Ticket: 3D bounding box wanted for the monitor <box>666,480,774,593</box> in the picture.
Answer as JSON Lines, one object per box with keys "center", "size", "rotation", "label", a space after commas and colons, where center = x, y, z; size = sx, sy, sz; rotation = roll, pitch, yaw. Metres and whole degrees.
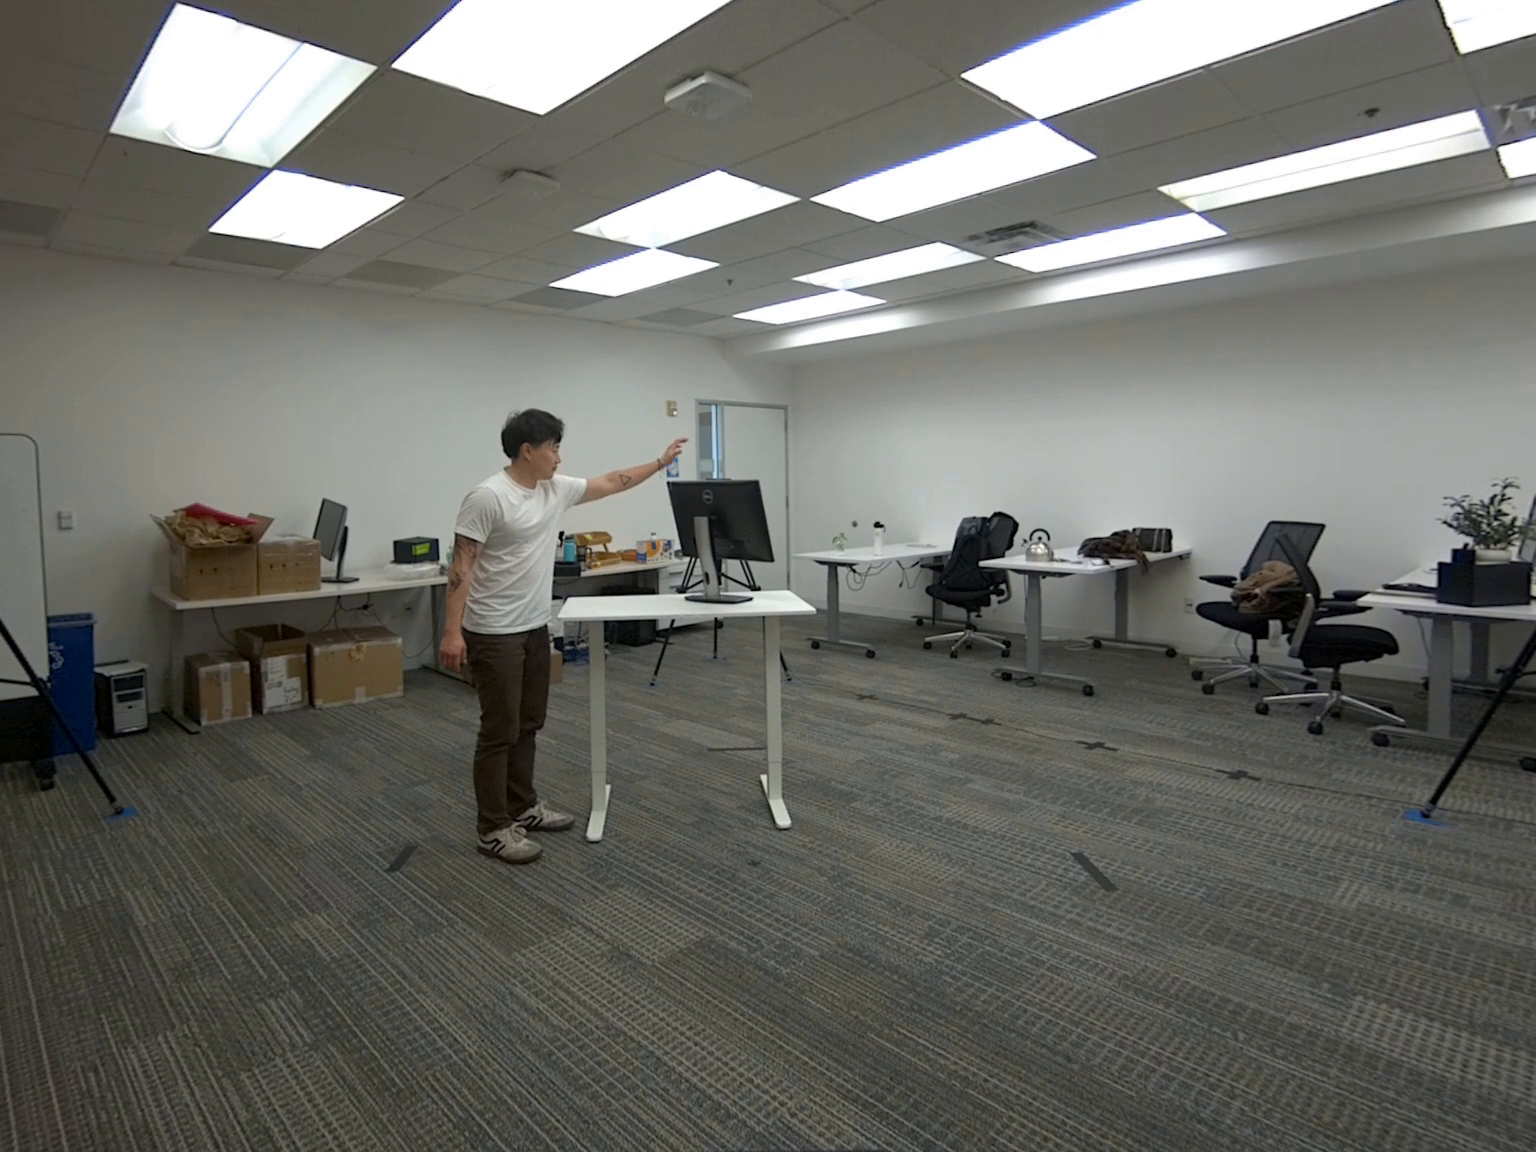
{"center": [-0.231, -0.145, 3.643], "size": [0.555, 0.520, 0.182], "rotation": [4, 8, 41], "label": "monitor"}
